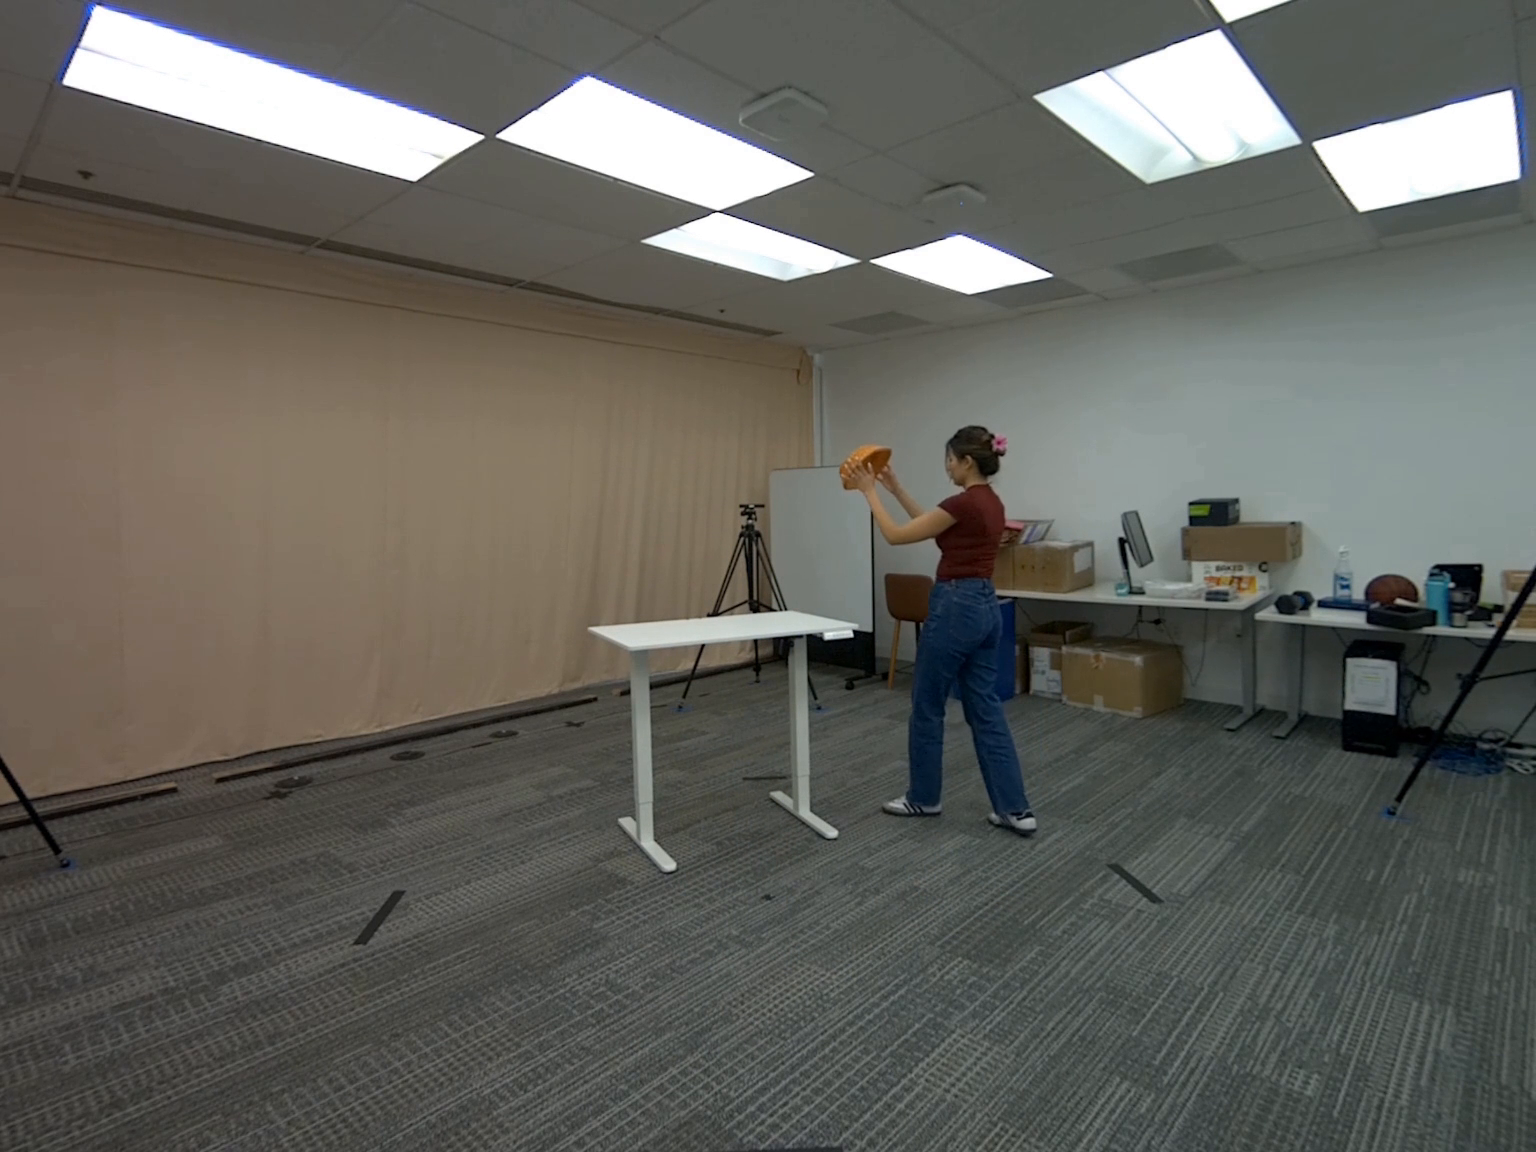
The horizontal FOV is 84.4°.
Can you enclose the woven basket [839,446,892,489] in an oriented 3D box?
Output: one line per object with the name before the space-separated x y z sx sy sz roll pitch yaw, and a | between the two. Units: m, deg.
woven basket | 0.442 -0.510 3.859 0.075 0.253 0.341 44 26 19
